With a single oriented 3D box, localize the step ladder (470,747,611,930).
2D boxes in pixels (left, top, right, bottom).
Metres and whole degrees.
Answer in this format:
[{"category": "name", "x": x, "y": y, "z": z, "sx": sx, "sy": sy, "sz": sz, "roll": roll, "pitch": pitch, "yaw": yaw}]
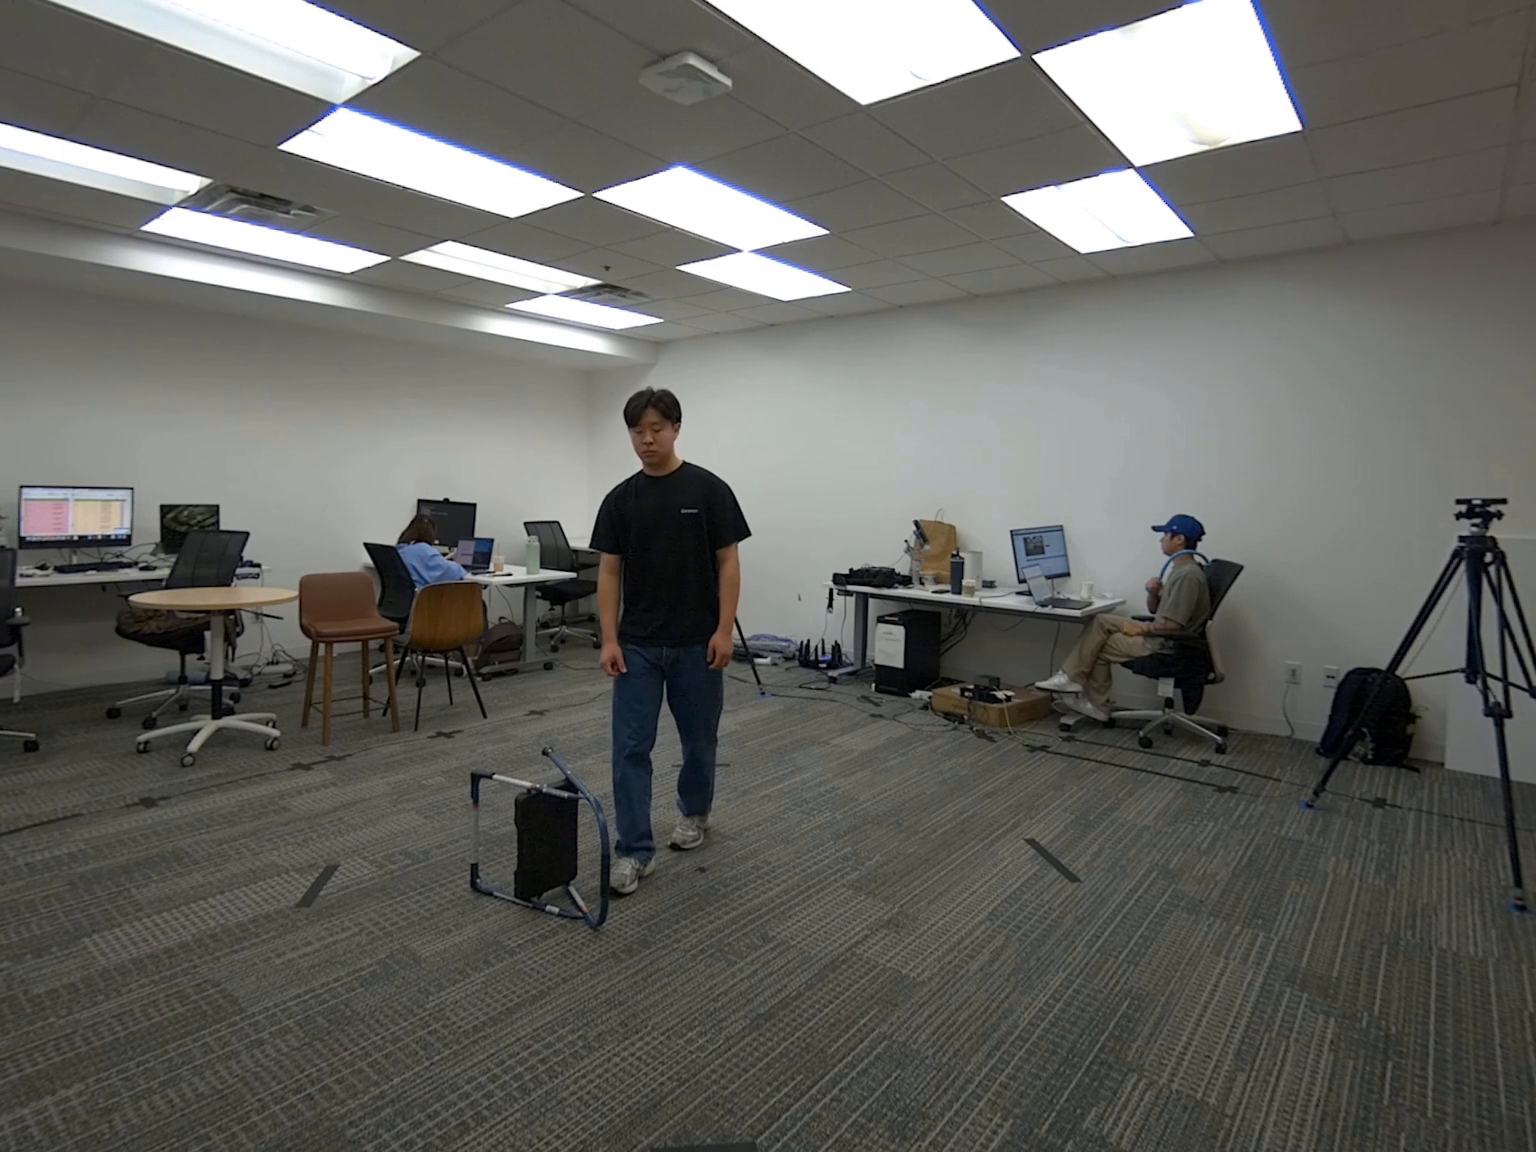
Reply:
[{"category": "step ladder", "x": -0.692, "y": 0.877, "z": 2.832, "sx": 0.627, "sy": 0.429, "sz": 0.339, "roll": 5, "pitch": 7, "yaw": 40}]
